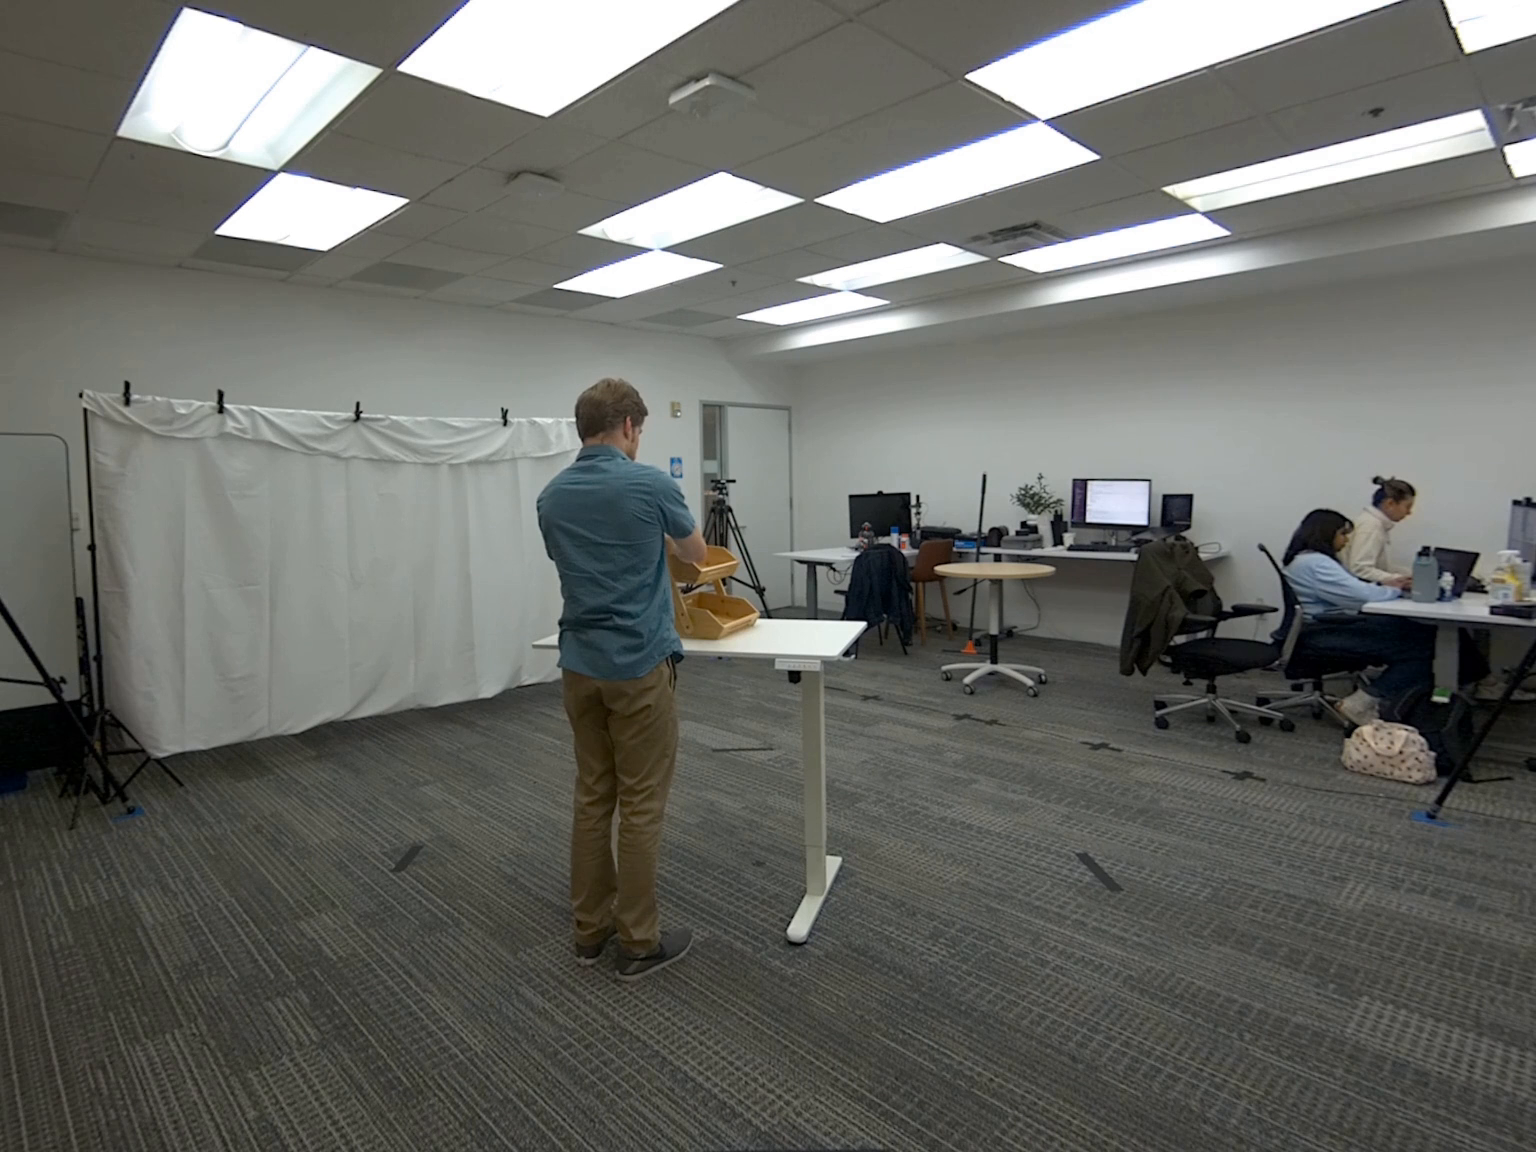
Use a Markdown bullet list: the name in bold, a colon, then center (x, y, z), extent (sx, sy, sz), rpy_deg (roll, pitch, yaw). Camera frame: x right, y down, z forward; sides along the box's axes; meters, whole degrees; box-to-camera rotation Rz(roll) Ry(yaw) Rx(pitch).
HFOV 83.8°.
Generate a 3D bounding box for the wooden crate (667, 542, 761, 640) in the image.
- **wooden crate**: center (-0.205, 0.043, 2.919), extent (0.309, 0.272, 0.318), rpy_deg (7, 7, 23)
